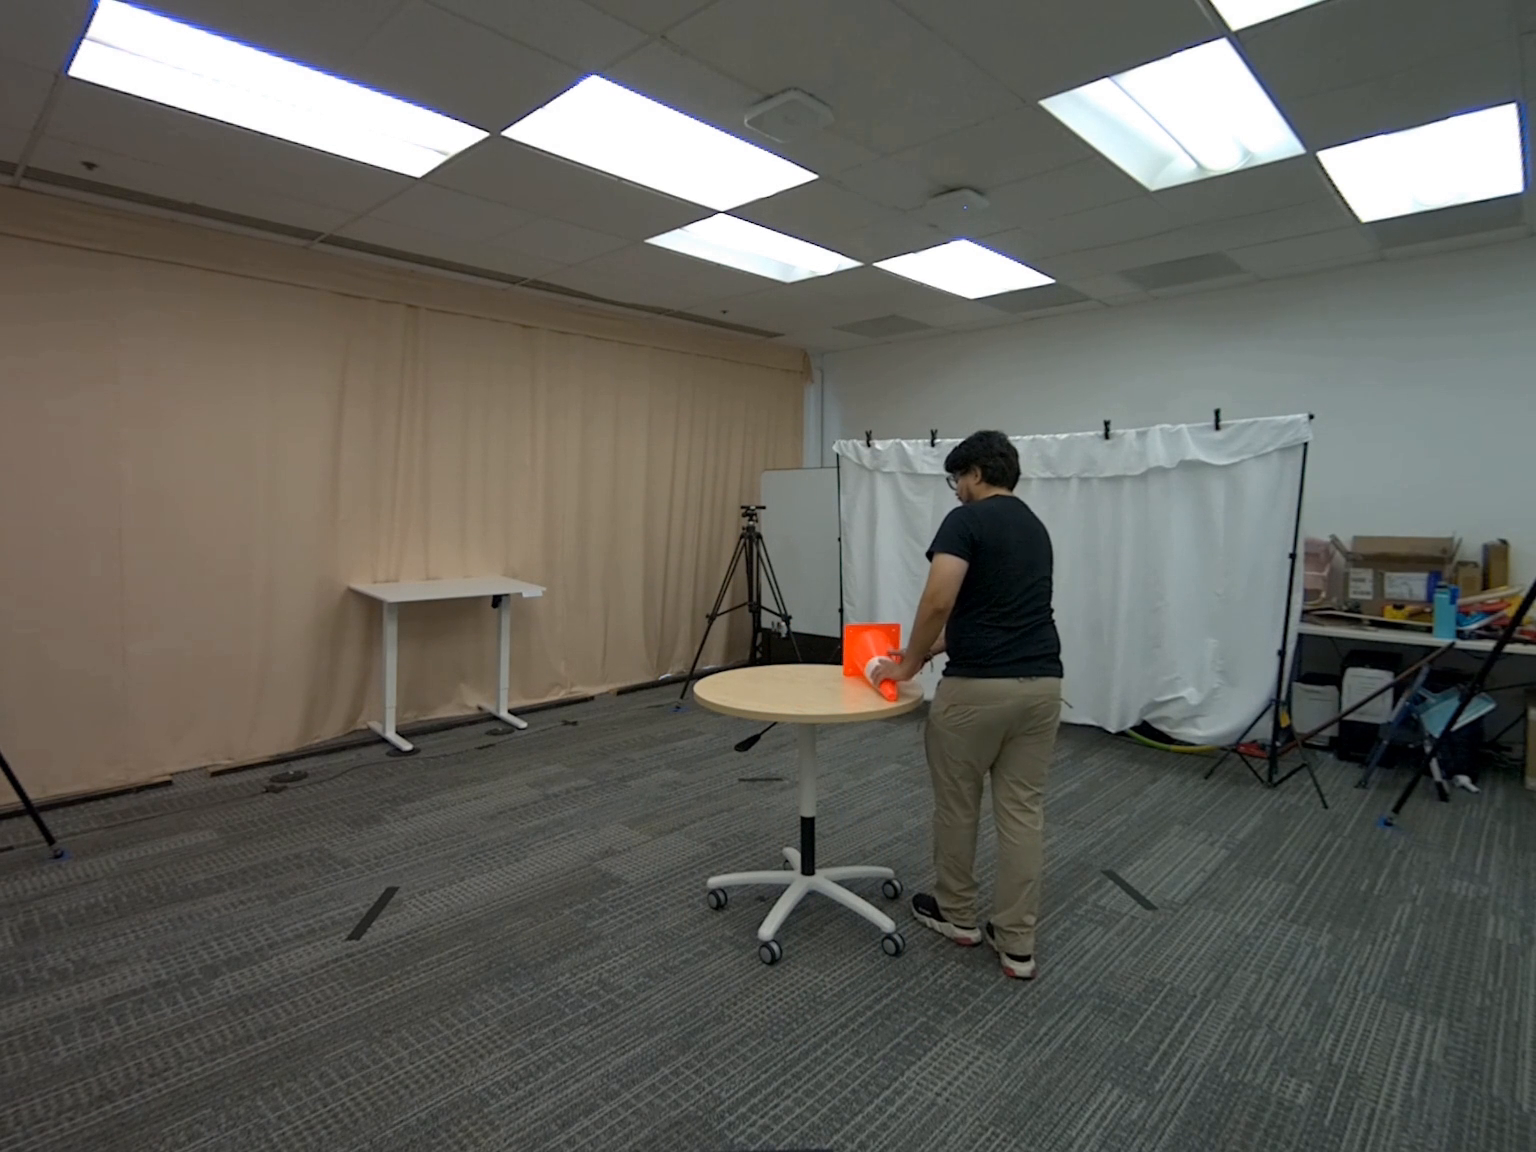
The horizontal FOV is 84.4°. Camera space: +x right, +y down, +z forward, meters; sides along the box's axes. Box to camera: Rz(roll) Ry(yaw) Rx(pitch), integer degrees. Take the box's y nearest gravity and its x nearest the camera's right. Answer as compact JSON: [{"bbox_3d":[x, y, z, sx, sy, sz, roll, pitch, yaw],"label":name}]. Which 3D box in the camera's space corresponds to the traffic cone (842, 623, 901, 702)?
[{"bbox_3d":[0.385,0.309,2.777,0.203,0.203,0.387,-11,13,0],"label":"traffic cone"}]
